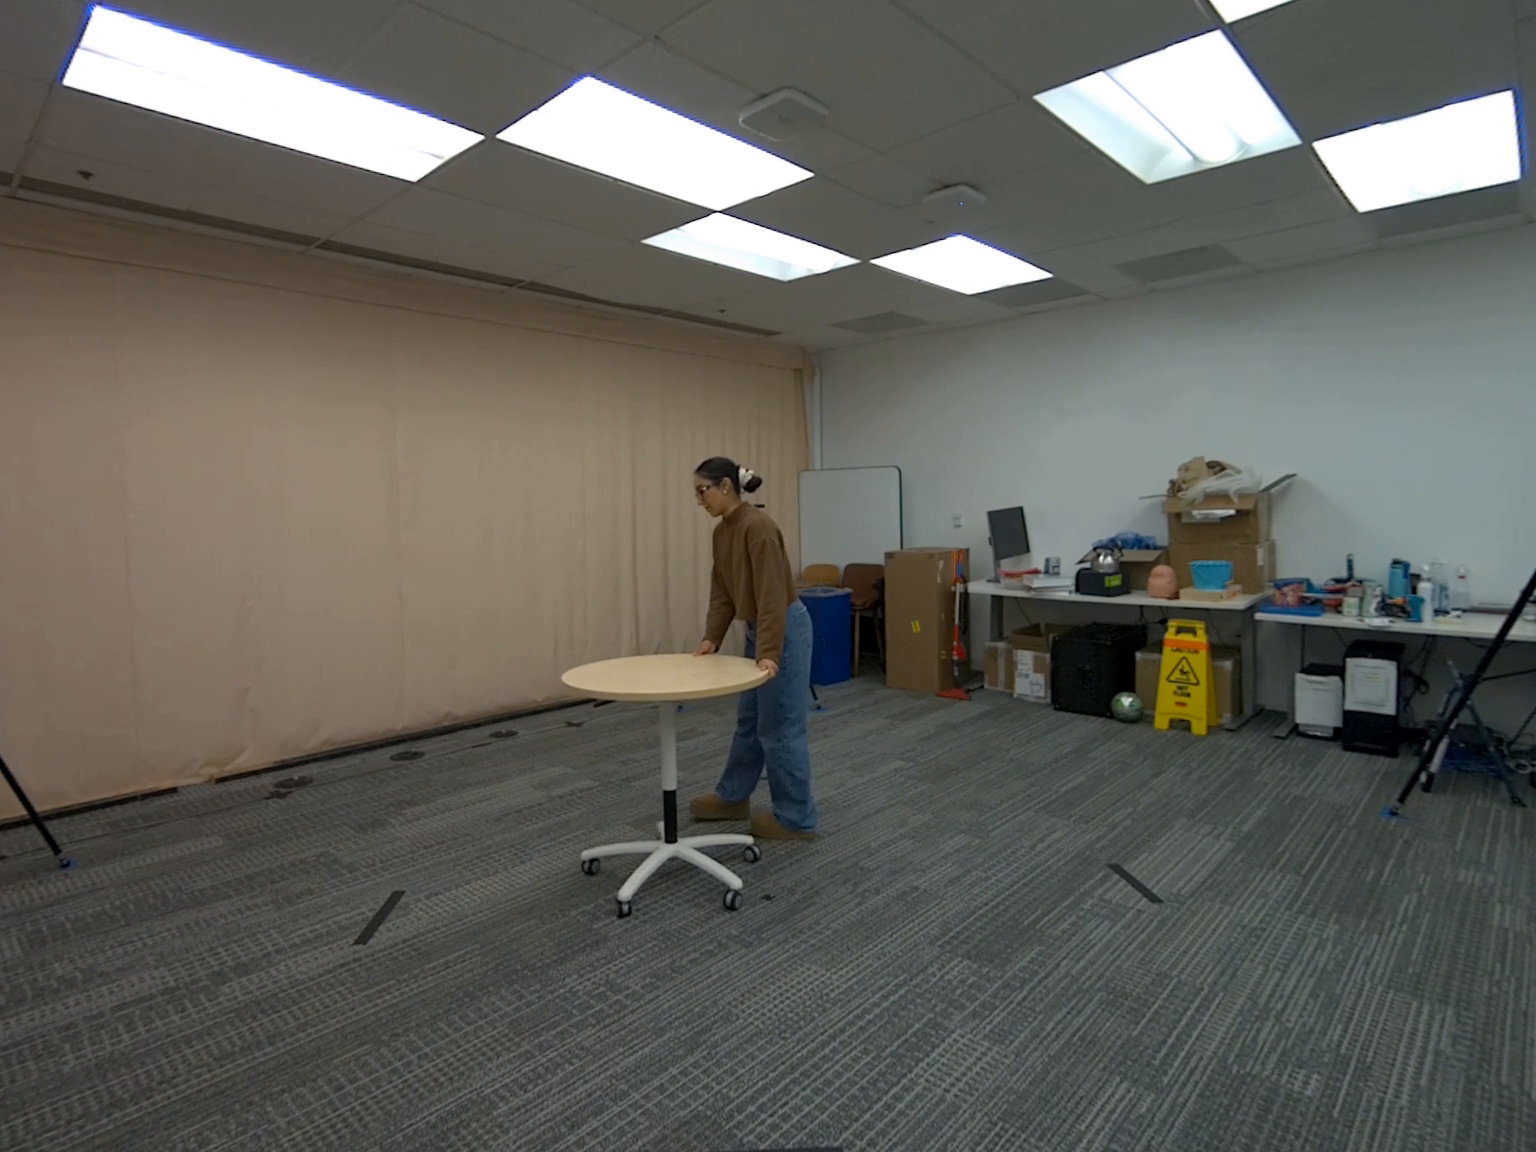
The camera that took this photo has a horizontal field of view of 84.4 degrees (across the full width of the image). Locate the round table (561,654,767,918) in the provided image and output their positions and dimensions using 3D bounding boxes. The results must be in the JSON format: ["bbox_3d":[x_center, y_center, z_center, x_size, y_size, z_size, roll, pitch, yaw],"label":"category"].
[{"bbox_3d":[-0.378,0.741,3.141,0.784,0.785,0.787,-1,3,-2],"label":"round table"}]
